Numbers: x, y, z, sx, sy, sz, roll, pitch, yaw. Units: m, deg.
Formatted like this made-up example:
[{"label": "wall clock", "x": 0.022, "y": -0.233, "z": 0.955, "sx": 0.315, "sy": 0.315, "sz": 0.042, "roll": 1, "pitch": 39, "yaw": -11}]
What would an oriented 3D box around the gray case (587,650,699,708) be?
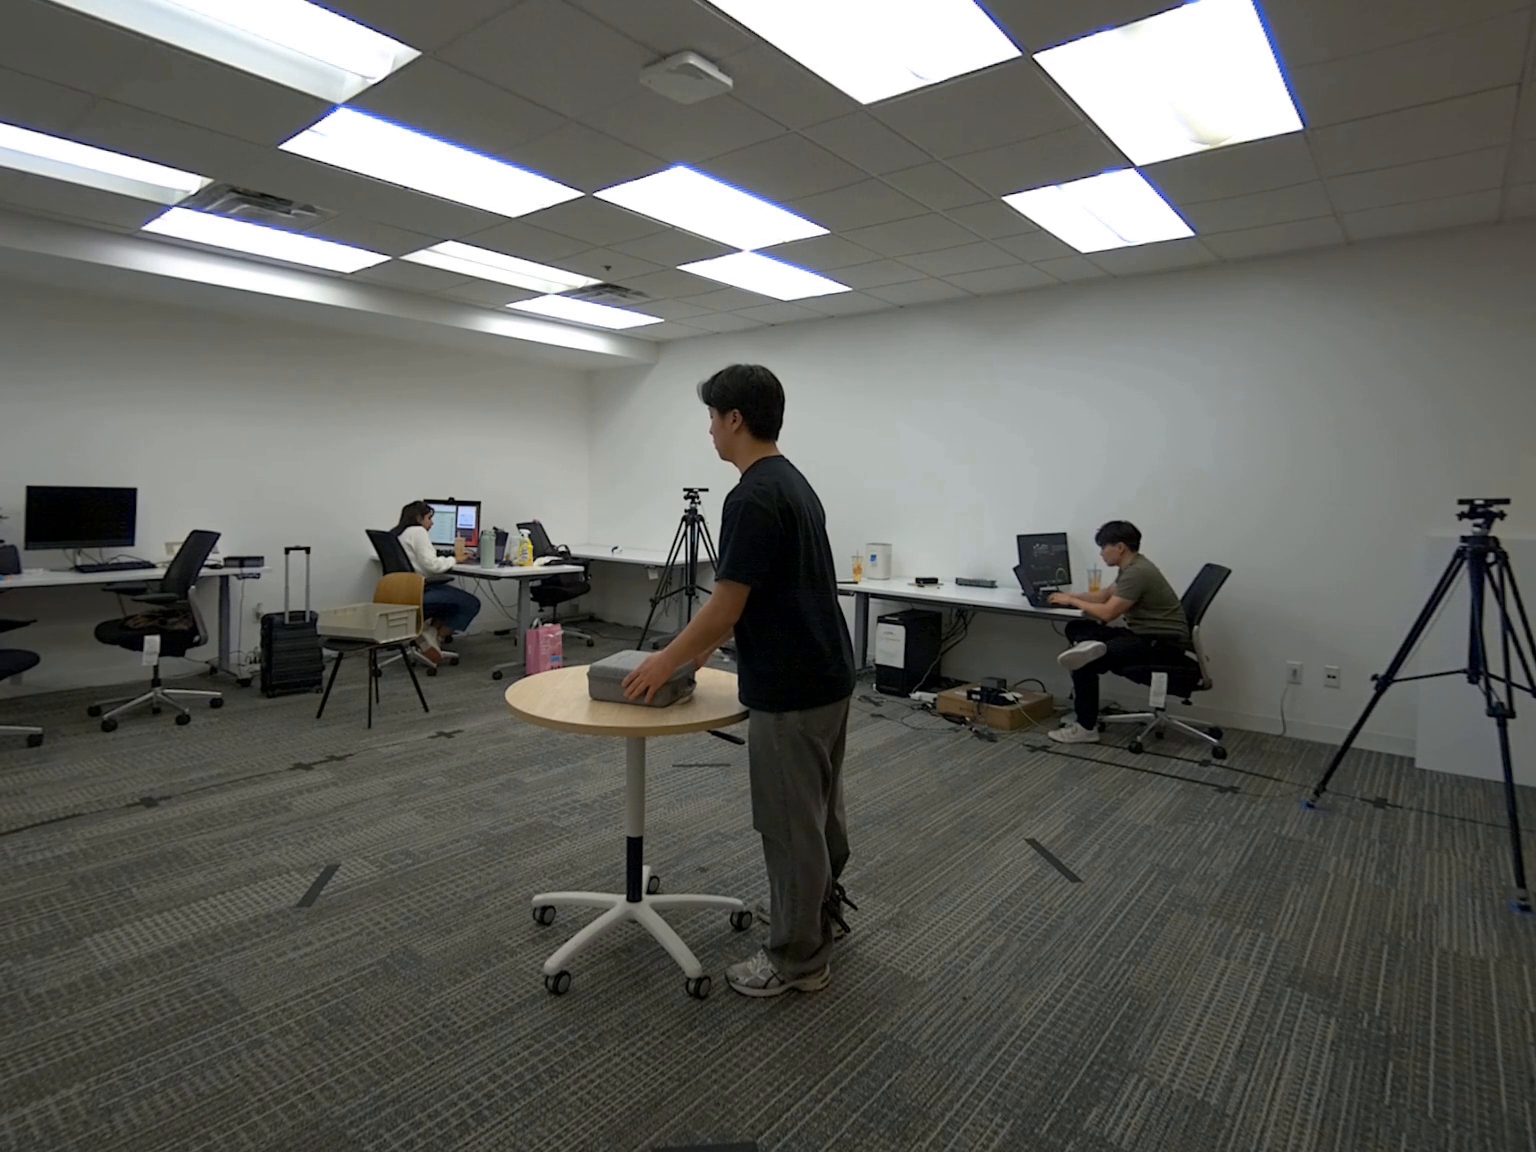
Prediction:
[{"label": "gray case", "x": -0.370, "y": 0.297, "z": 2.486, "sx": 0.293, "sy": 0.102, "sz": 0.259, "roll": 5, "pitch": 7, "yaw": 19}]
